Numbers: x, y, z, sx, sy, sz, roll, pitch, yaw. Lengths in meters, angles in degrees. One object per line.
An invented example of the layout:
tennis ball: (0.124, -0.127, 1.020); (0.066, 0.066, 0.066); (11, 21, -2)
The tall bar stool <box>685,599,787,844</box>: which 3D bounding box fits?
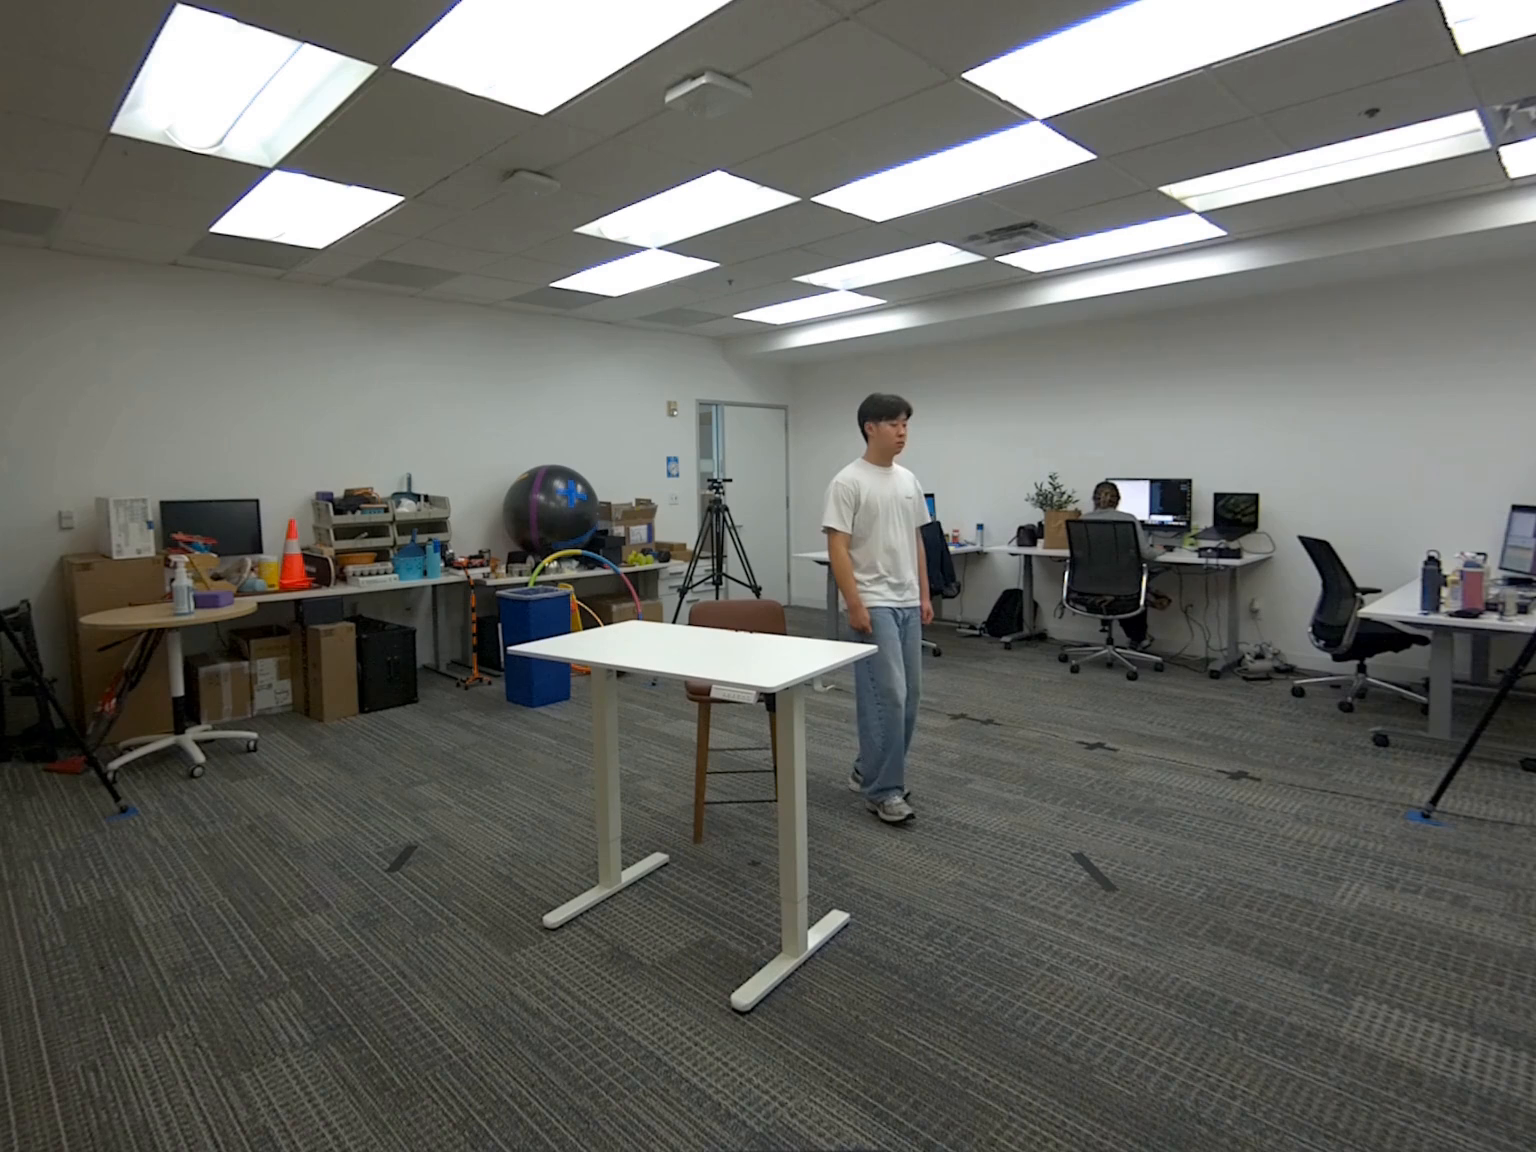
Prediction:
tall bar stool: (-0.100, 0.568, 3.490); (0.455, 0.888, 0.470); (0, 2, -5)
